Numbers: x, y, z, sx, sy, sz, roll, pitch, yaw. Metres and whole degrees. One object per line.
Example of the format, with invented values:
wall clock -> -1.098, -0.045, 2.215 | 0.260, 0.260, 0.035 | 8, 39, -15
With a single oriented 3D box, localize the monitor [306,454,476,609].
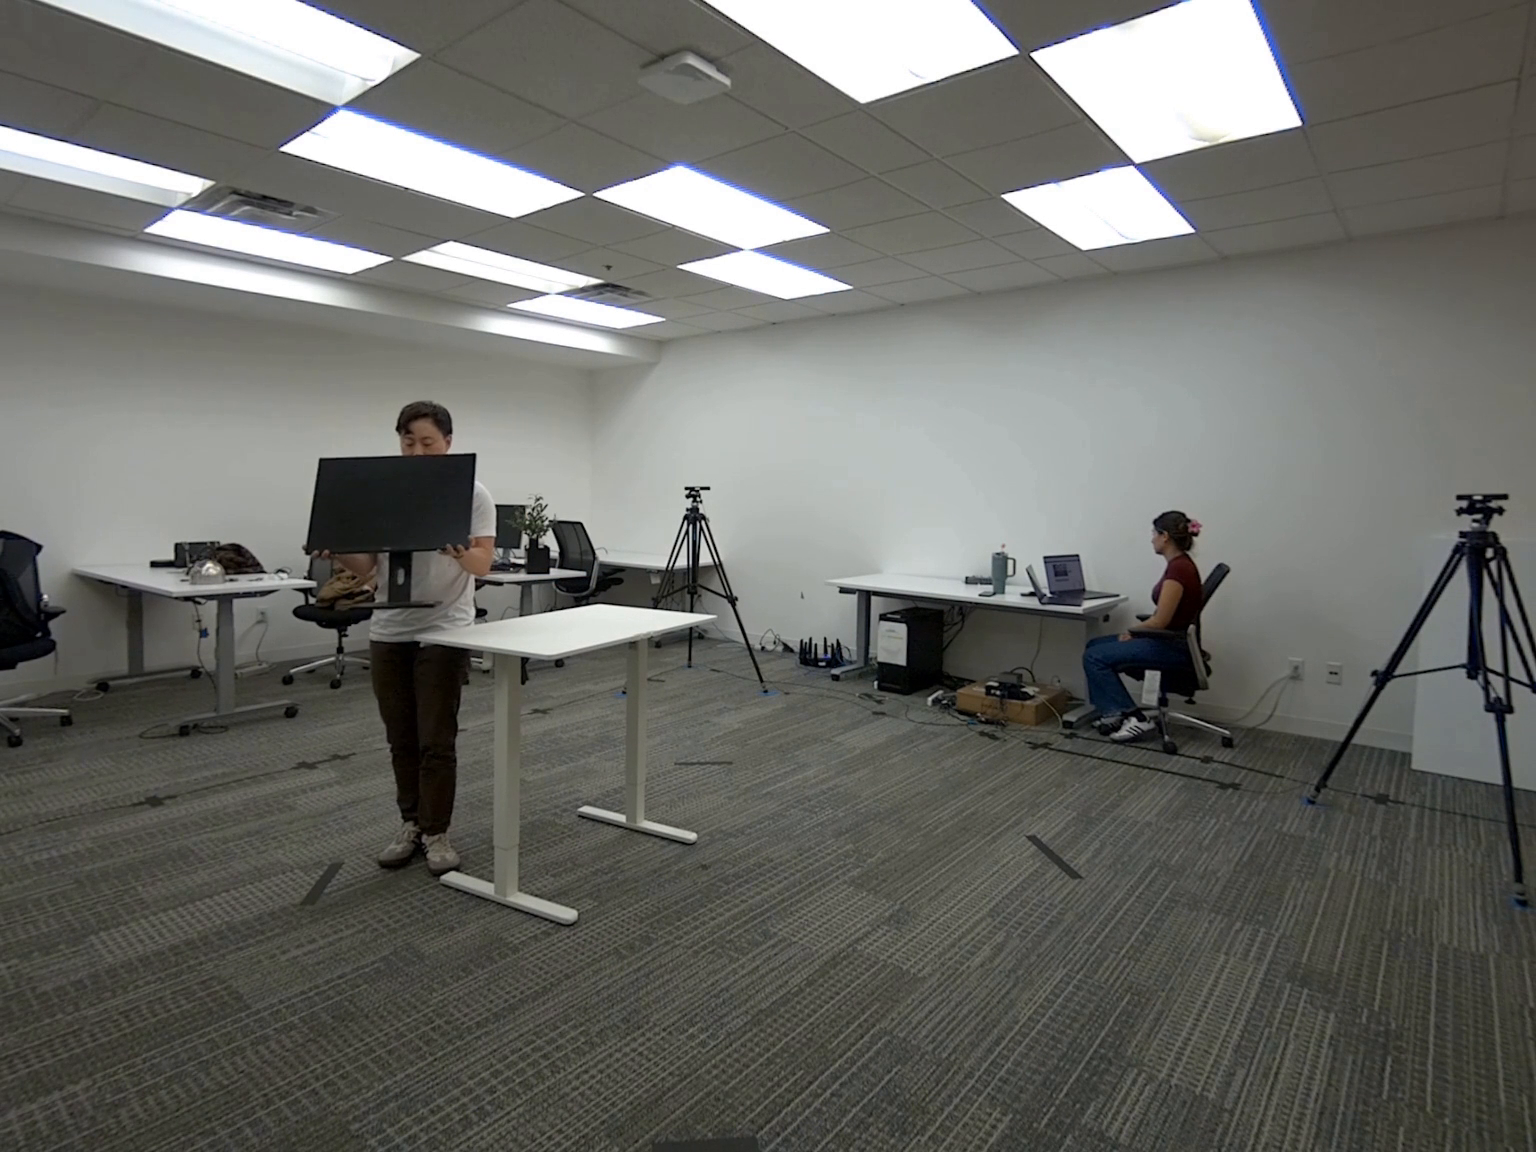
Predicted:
monitor -> -1.276, -0.155, 2.878 | 0.536, 0.526, 0.187 | -3, -6, -5
